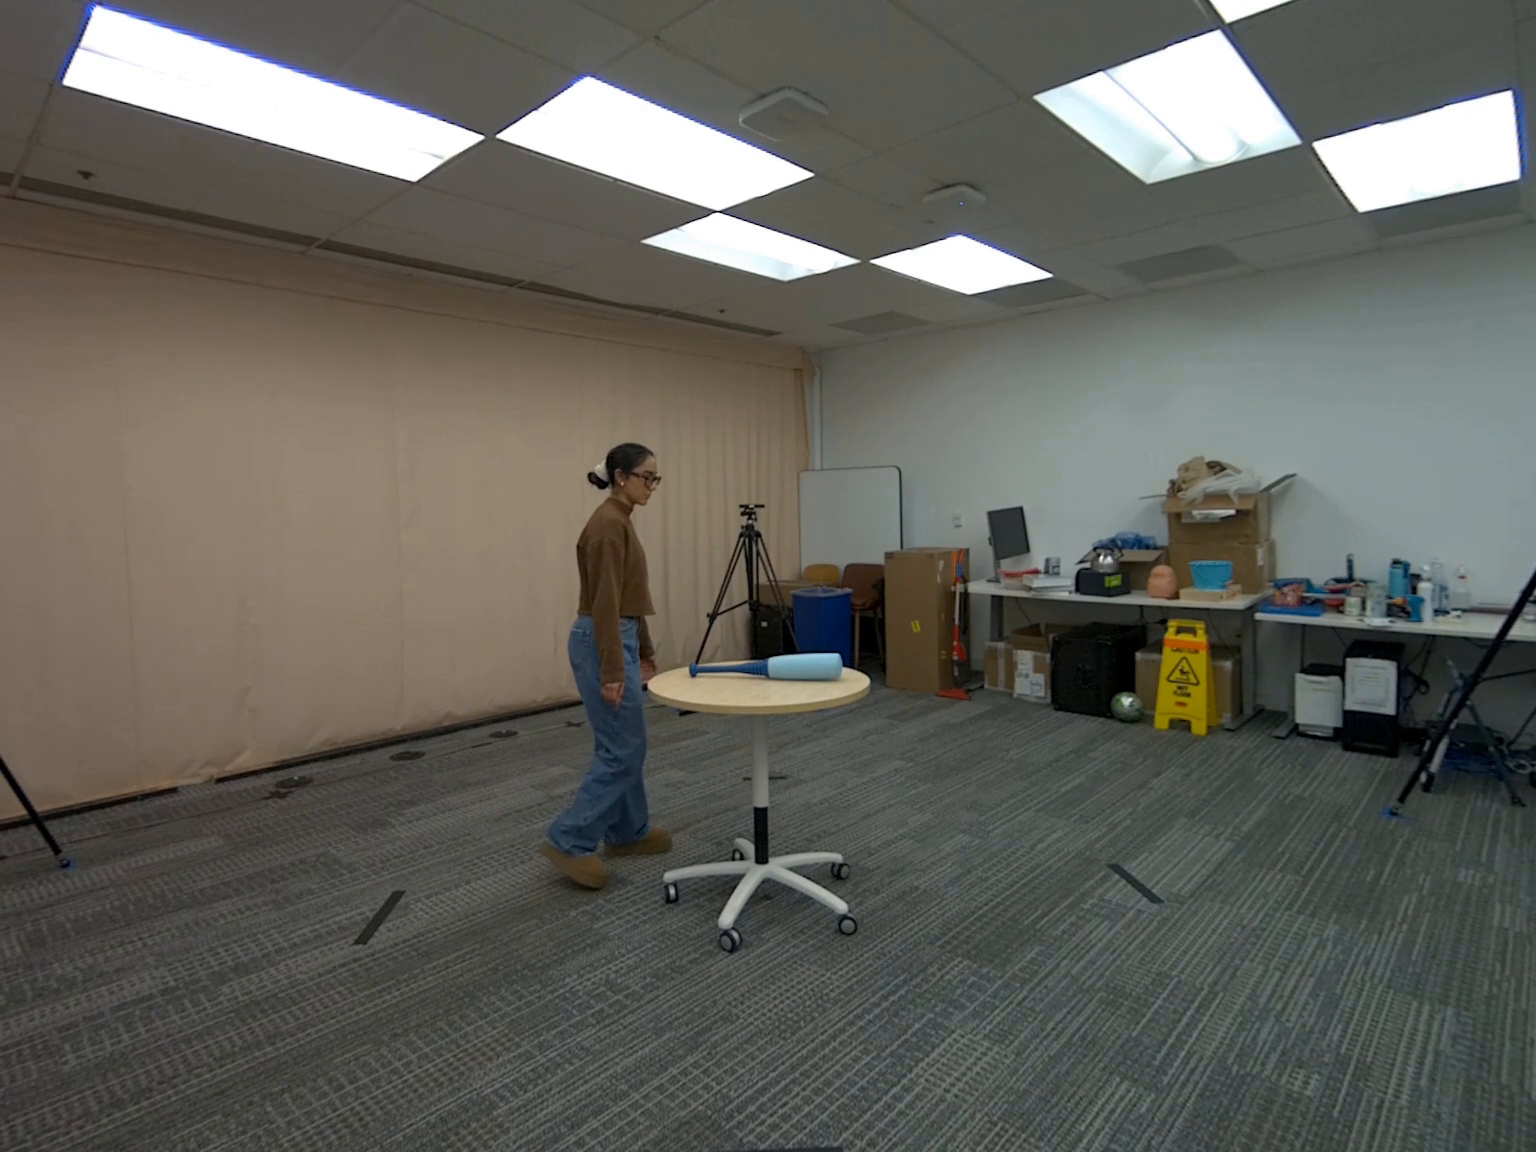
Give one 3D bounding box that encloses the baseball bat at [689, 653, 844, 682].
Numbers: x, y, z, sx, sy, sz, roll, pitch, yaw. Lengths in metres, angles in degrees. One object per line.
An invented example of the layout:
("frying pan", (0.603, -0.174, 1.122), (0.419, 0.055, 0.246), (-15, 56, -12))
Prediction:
("baseball bat", (-0.010, 0.326, 2.941), (0.550, 0.089, 0.088), (-4, 3, 13))
